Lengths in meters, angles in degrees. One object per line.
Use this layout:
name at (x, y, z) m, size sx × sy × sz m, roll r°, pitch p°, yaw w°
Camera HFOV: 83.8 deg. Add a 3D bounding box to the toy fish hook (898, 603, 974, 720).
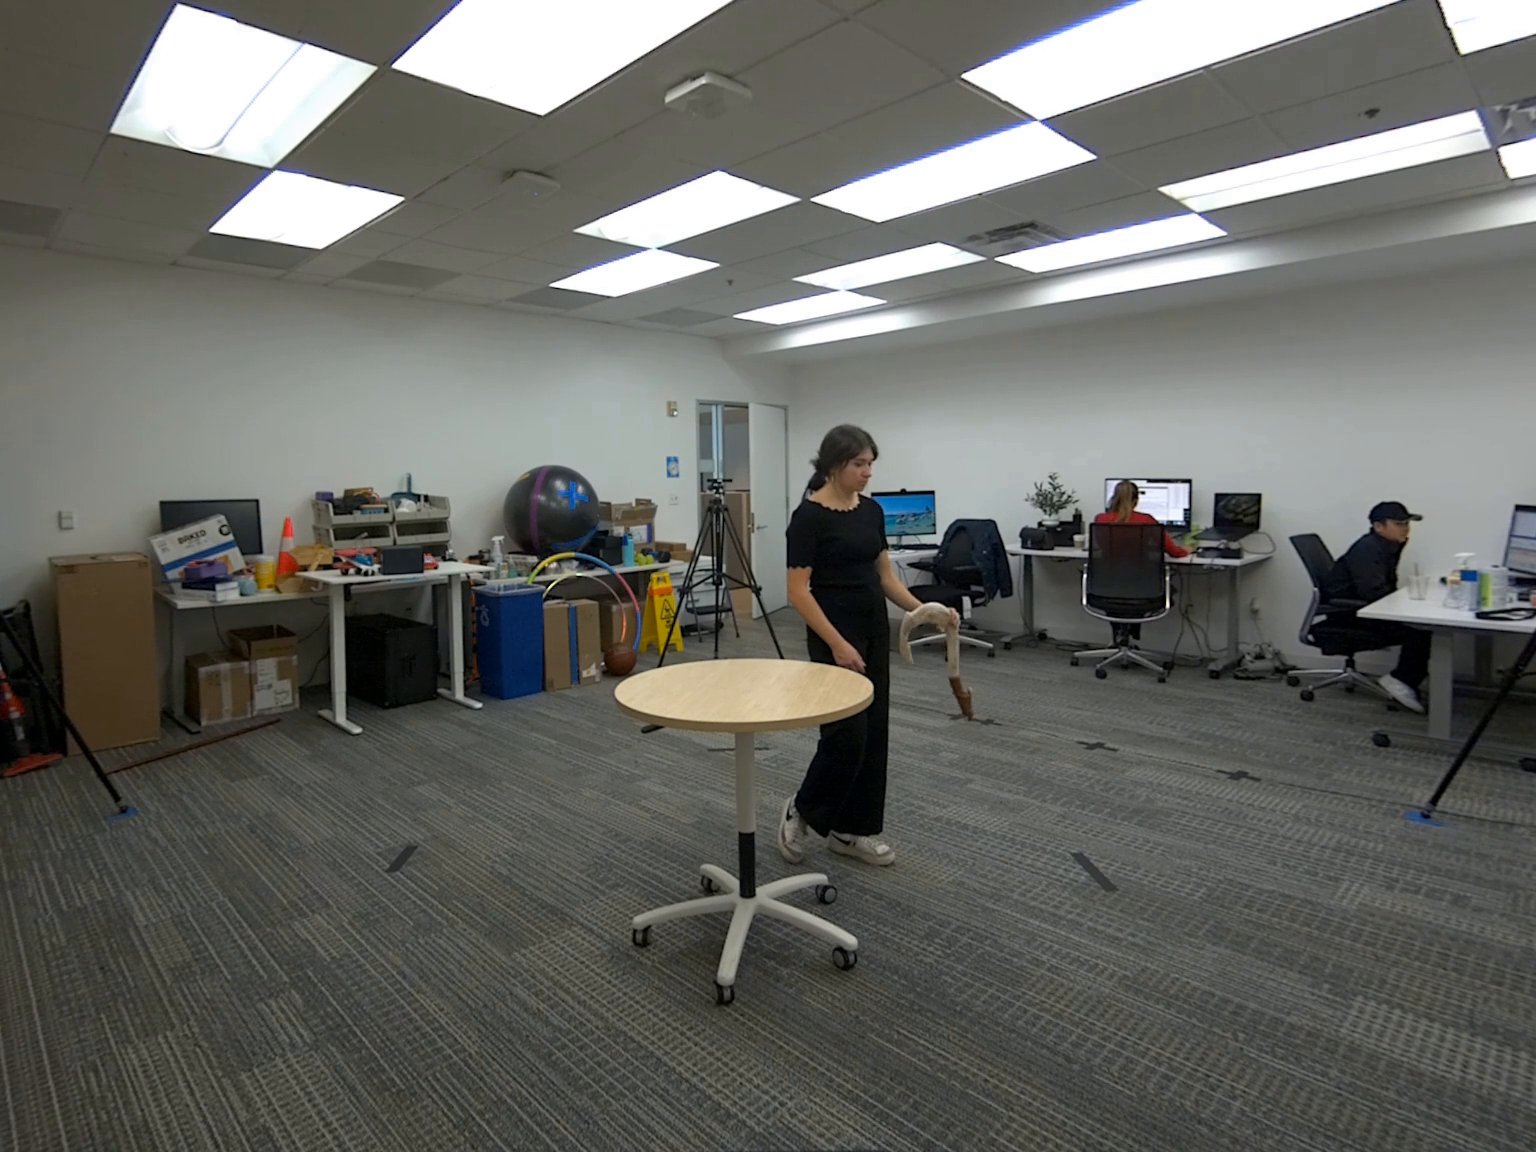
toy fish hook at (0.608, 0.315, 3.087) m, size 0.224 × 0.496 × 0.049 m, roll -22°, pitch 17°, yaw -3°
